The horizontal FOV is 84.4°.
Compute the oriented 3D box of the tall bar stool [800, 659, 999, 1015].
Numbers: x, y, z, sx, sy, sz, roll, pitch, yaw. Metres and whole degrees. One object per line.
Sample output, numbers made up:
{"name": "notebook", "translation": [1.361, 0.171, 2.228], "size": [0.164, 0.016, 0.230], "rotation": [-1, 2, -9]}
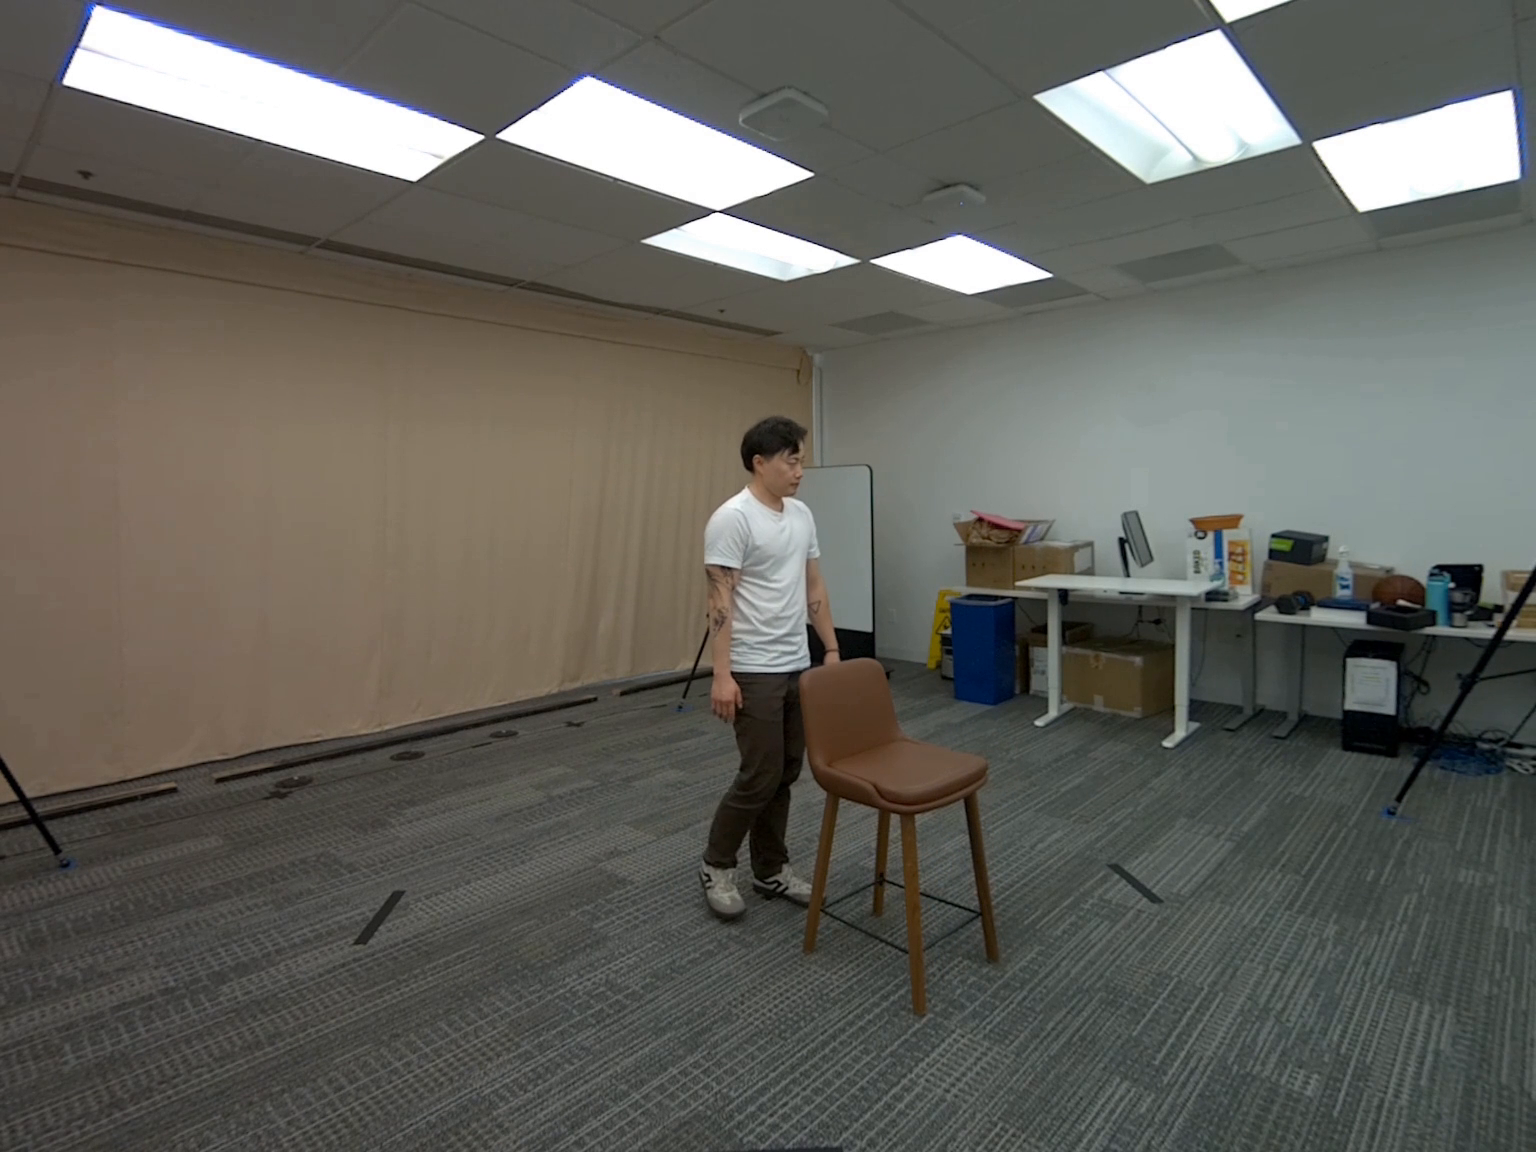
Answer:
{"name": "tall bar stool", "translation": [0.388, 0.733, 2.564], "size": [0.443, 0.889, 0.482], "rotation": [-4, 3, -43]}
